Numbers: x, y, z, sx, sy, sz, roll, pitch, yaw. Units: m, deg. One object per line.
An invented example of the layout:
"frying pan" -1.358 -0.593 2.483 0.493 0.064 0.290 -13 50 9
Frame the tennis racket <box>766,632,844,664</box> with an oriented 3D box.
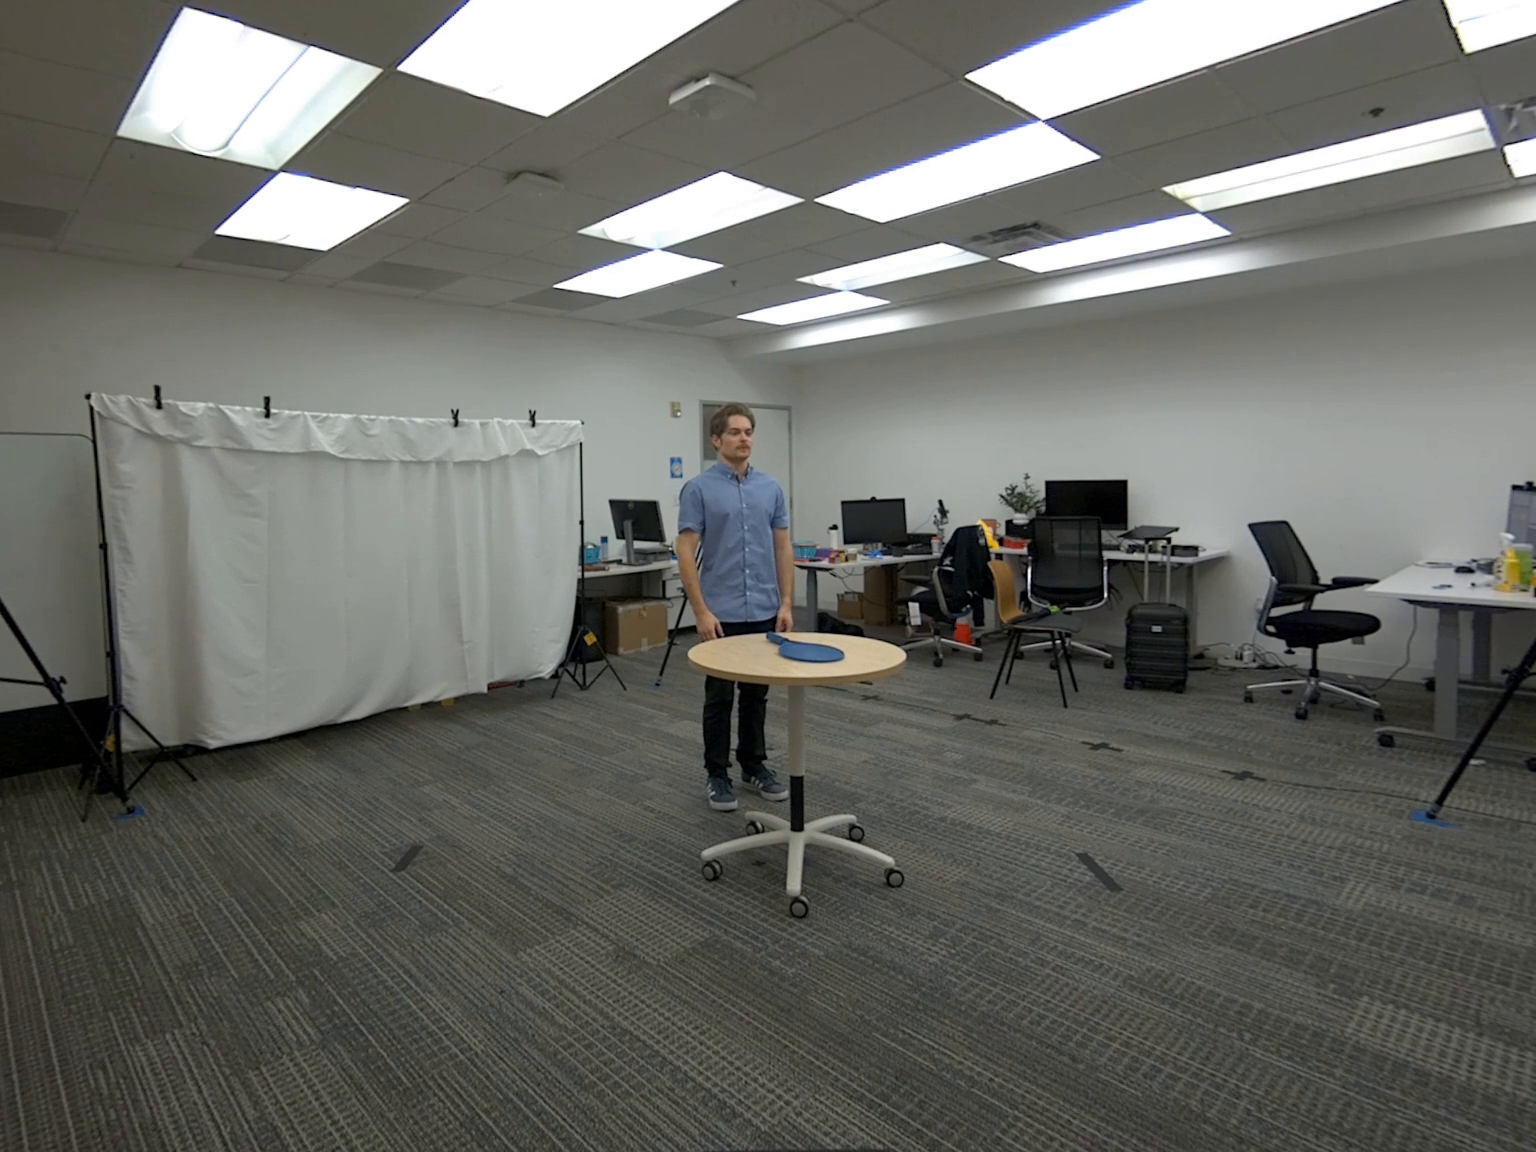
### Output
"tennis racket" 0.127 0.263 3.046 0.209 0.031 0.444 -4 9 -24
